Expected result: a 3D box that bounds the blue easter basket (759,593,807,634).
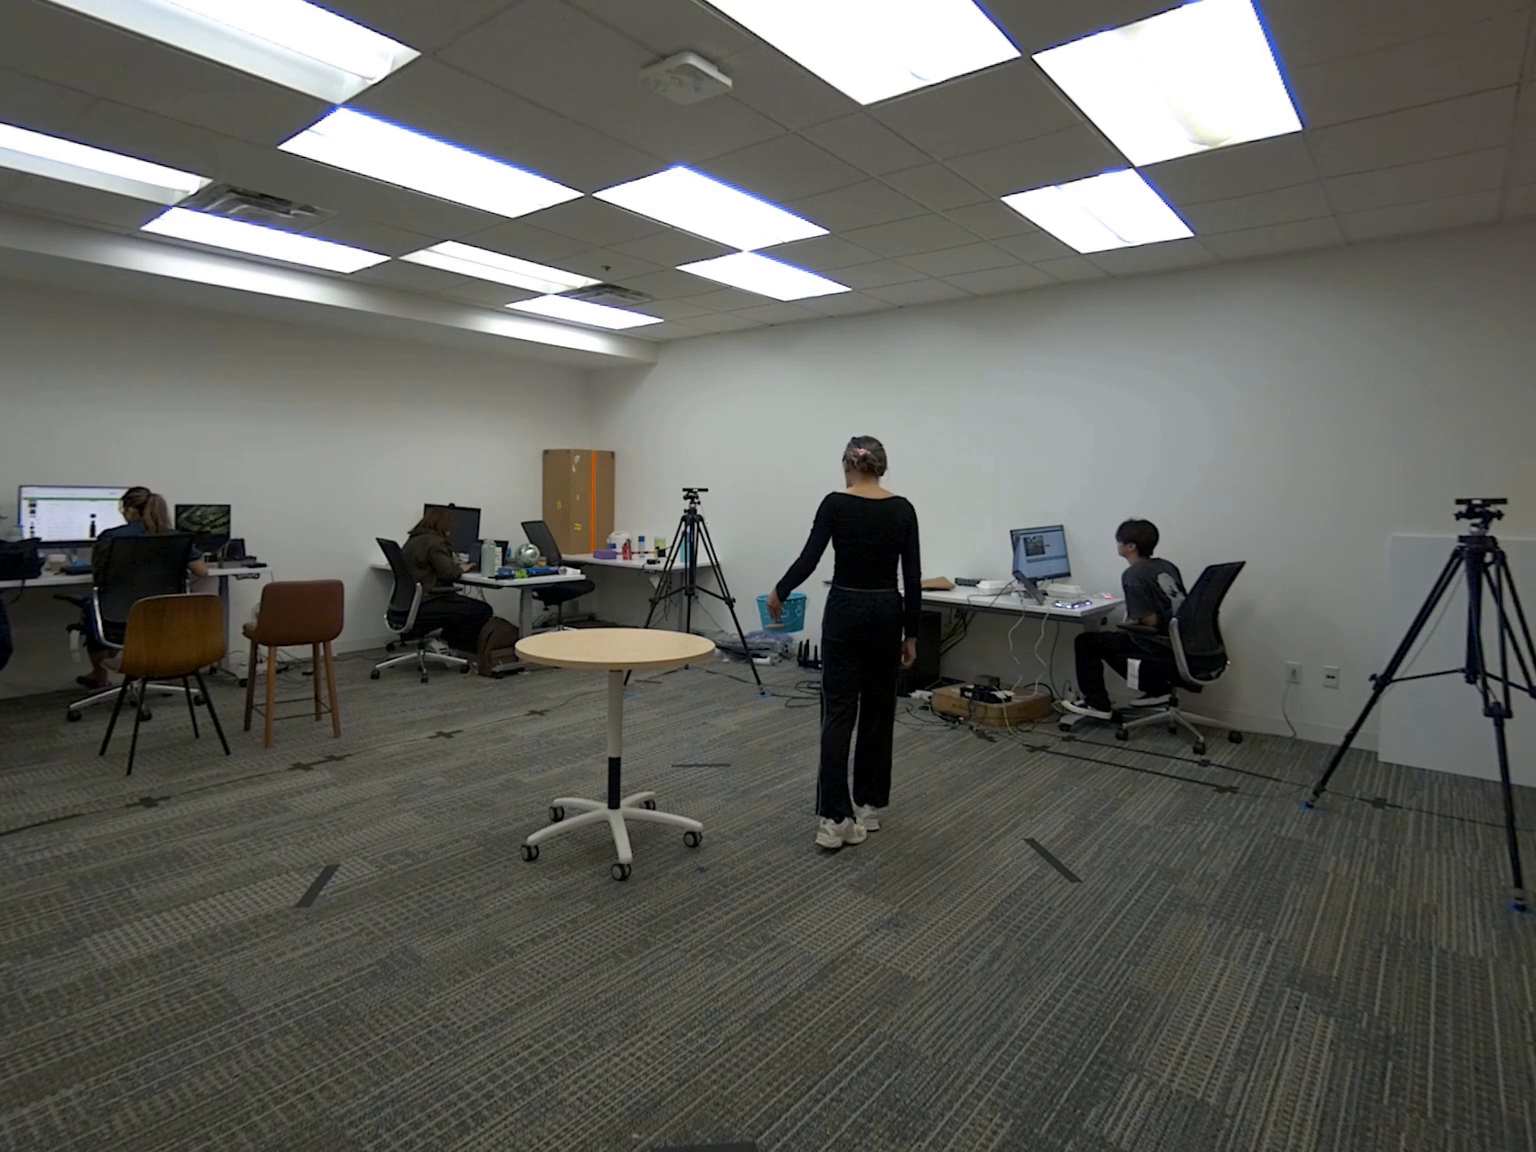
[{"bbox_3d":[0.050,0.162,3.782,0.243,0.155,0.245,-4,5,-2],"label":"blue easter basket"}]
